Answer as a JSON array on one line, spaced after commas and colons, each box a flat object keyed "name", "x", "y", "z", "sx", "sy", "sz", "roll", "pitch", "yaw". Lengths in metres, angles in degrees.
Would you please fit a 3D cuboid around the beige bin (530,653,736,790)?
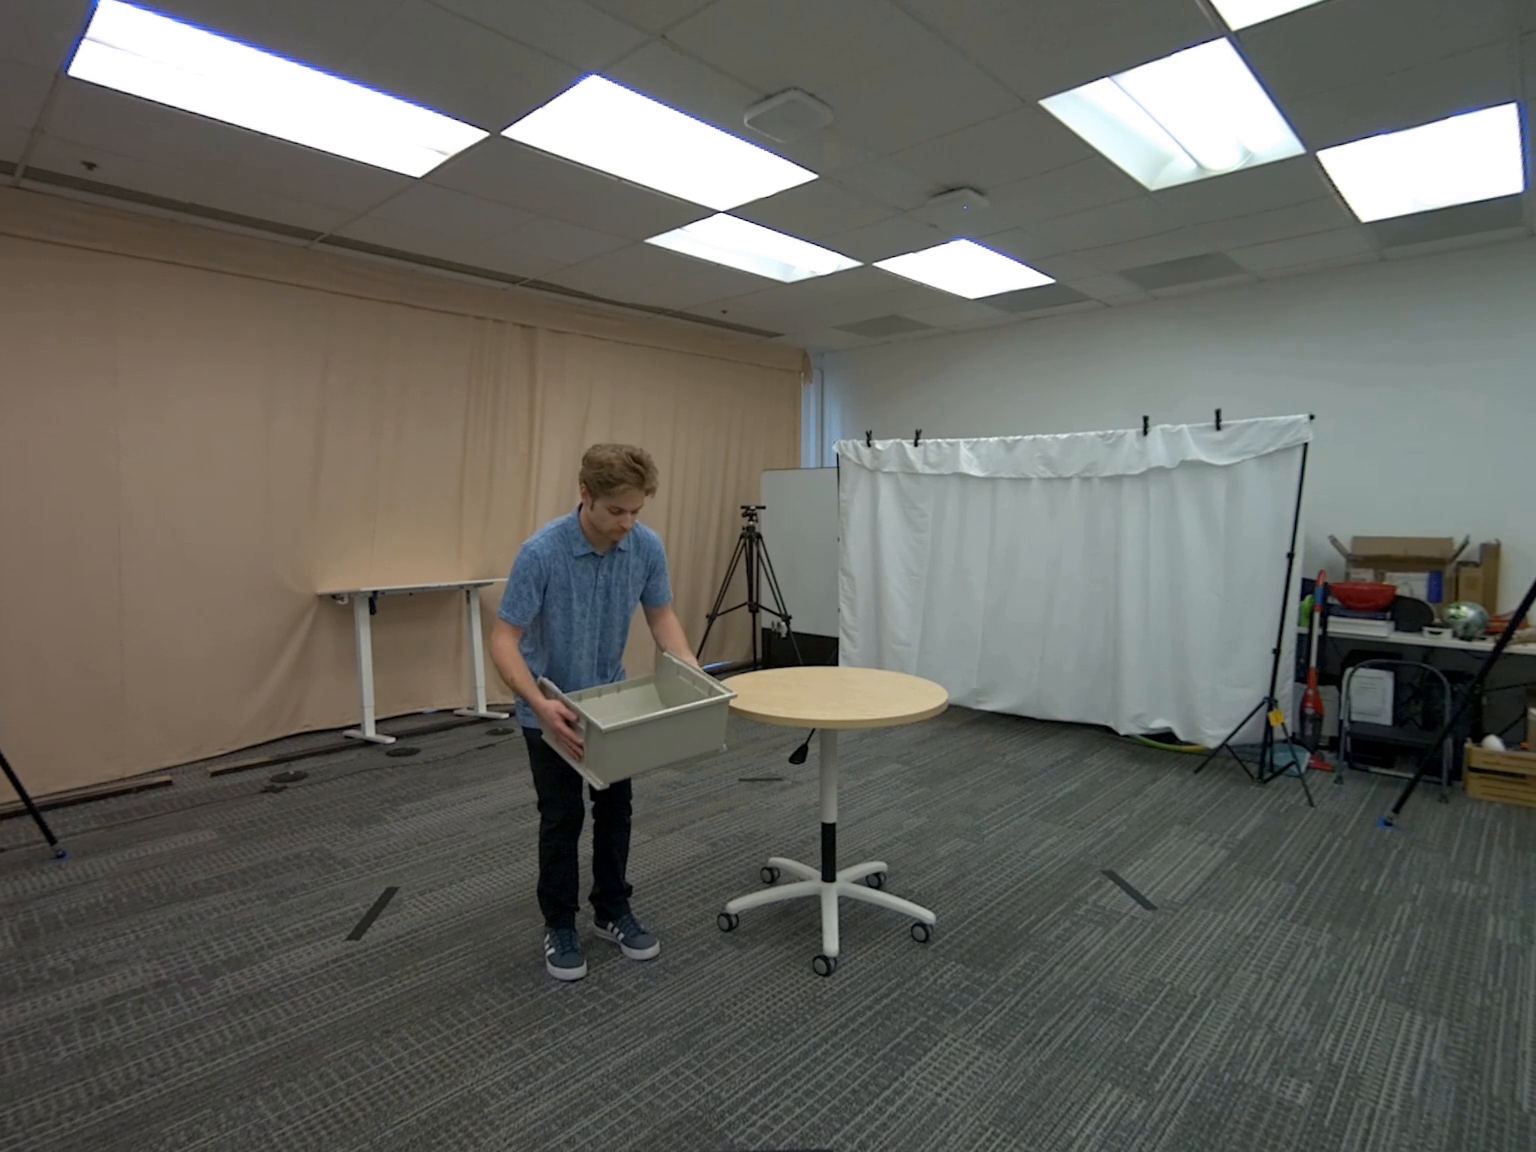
[{"name": "beige bin", "x": -0.365, "y": 0.376, "z": 2.318, "sx": 0.410, "sy": 0.187, "sz": 0.391, "roll": -7, "pitch": 22, "yaw": -39}]
